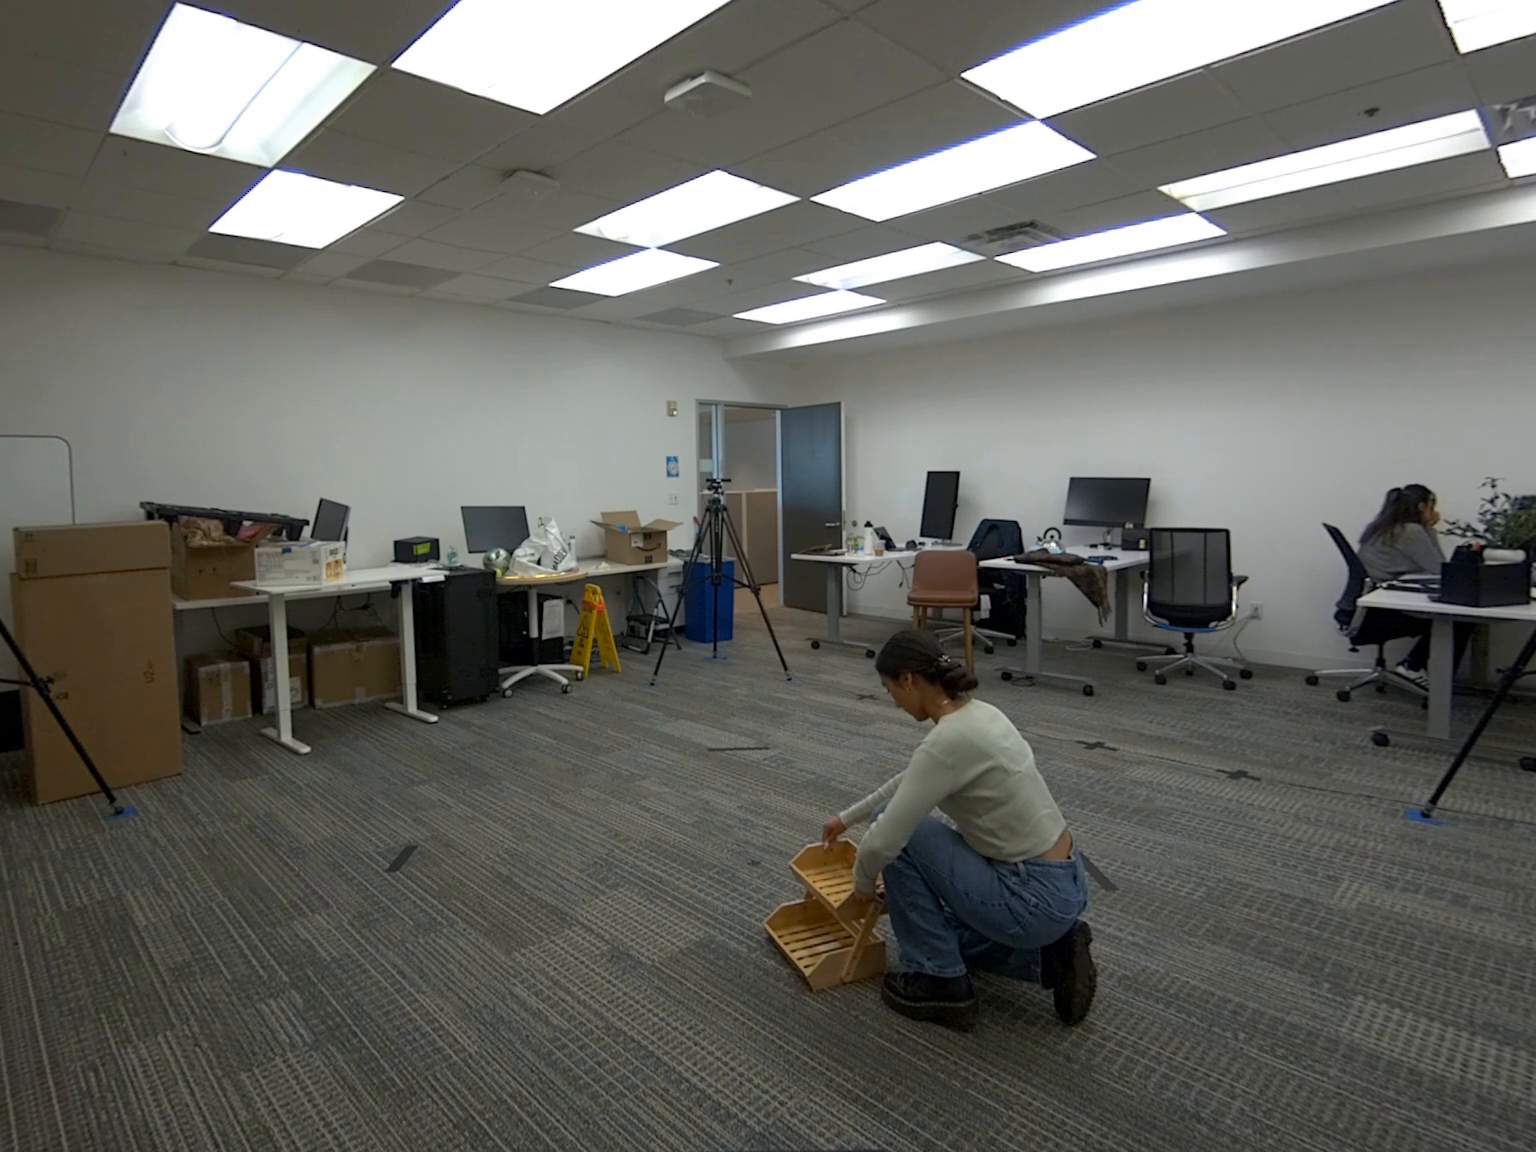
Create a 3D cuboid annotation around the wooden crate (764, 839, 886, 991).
[{"bbox_3d":[0.180,0.976,2.501,0.296,0.272,0.332,-2,5,-23],"label":"wooden crate"}]
